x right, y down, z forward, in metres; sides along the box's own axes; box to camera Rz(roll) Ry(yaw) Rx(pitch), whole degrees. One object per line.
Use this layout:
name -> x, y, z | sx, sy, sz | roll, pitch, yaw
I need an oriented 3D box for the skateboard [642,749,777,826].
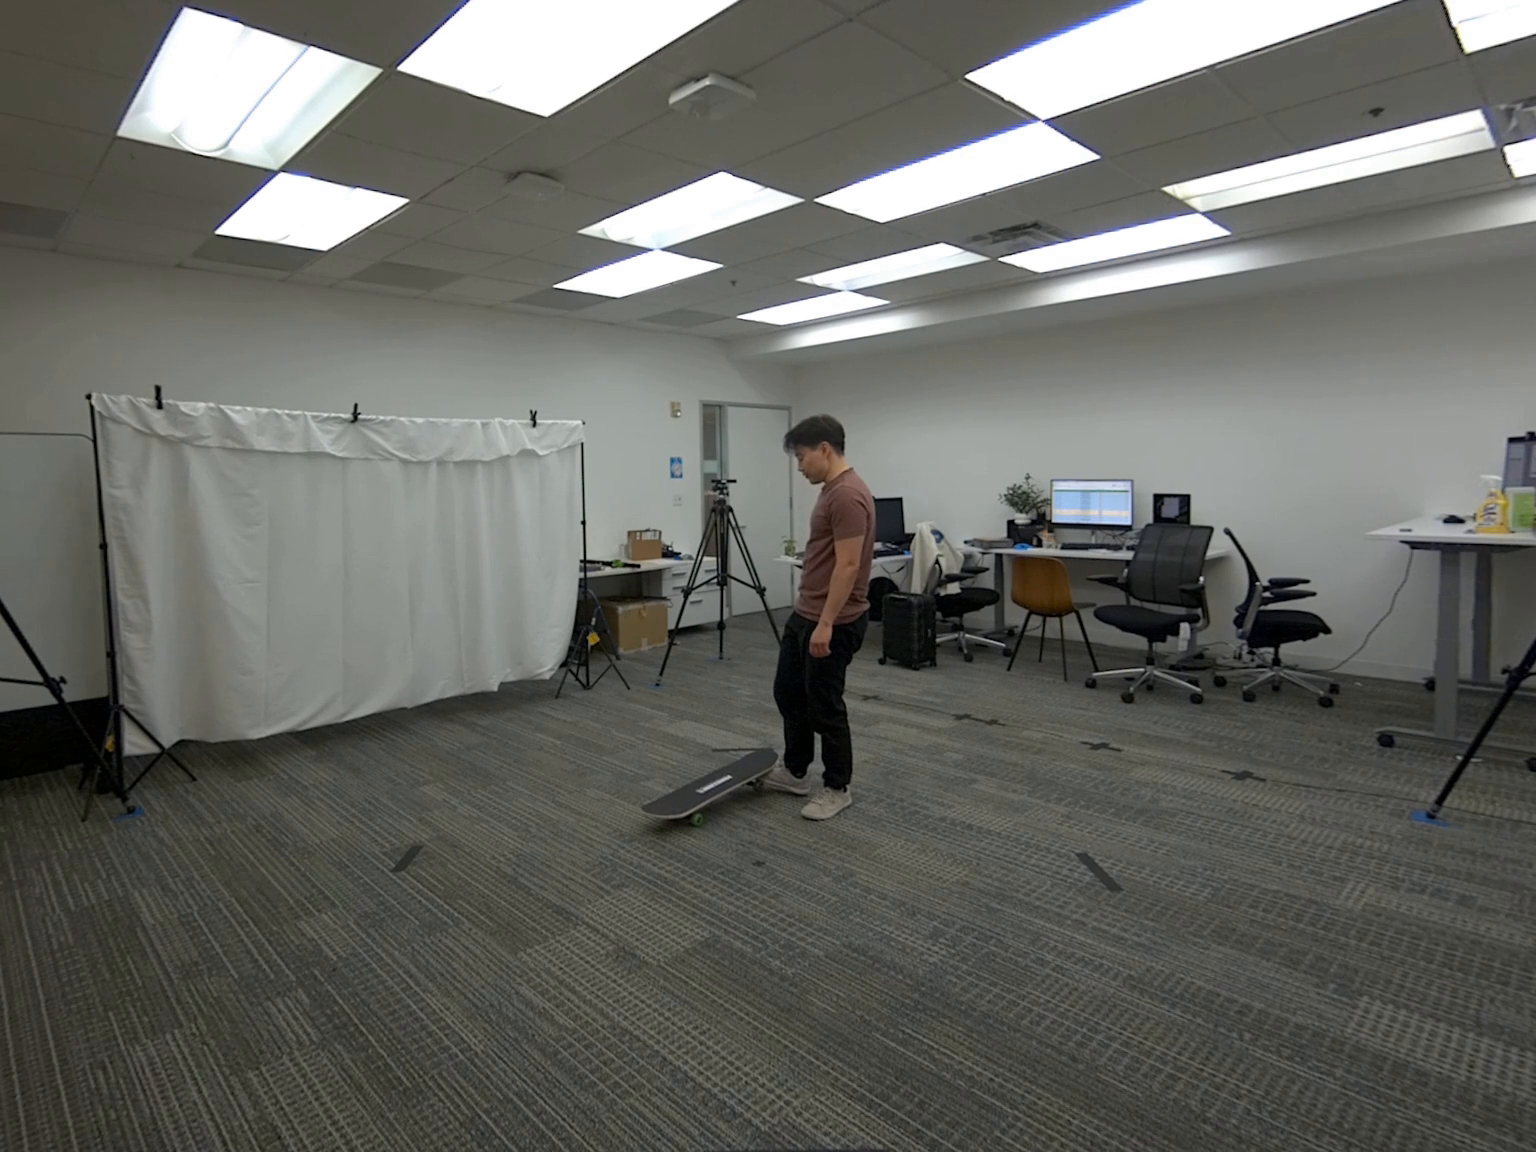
skateboard -> -0.224, 0.917, 3.656 | 0.199, 0.109, 0.768 | 3, 12, 40
